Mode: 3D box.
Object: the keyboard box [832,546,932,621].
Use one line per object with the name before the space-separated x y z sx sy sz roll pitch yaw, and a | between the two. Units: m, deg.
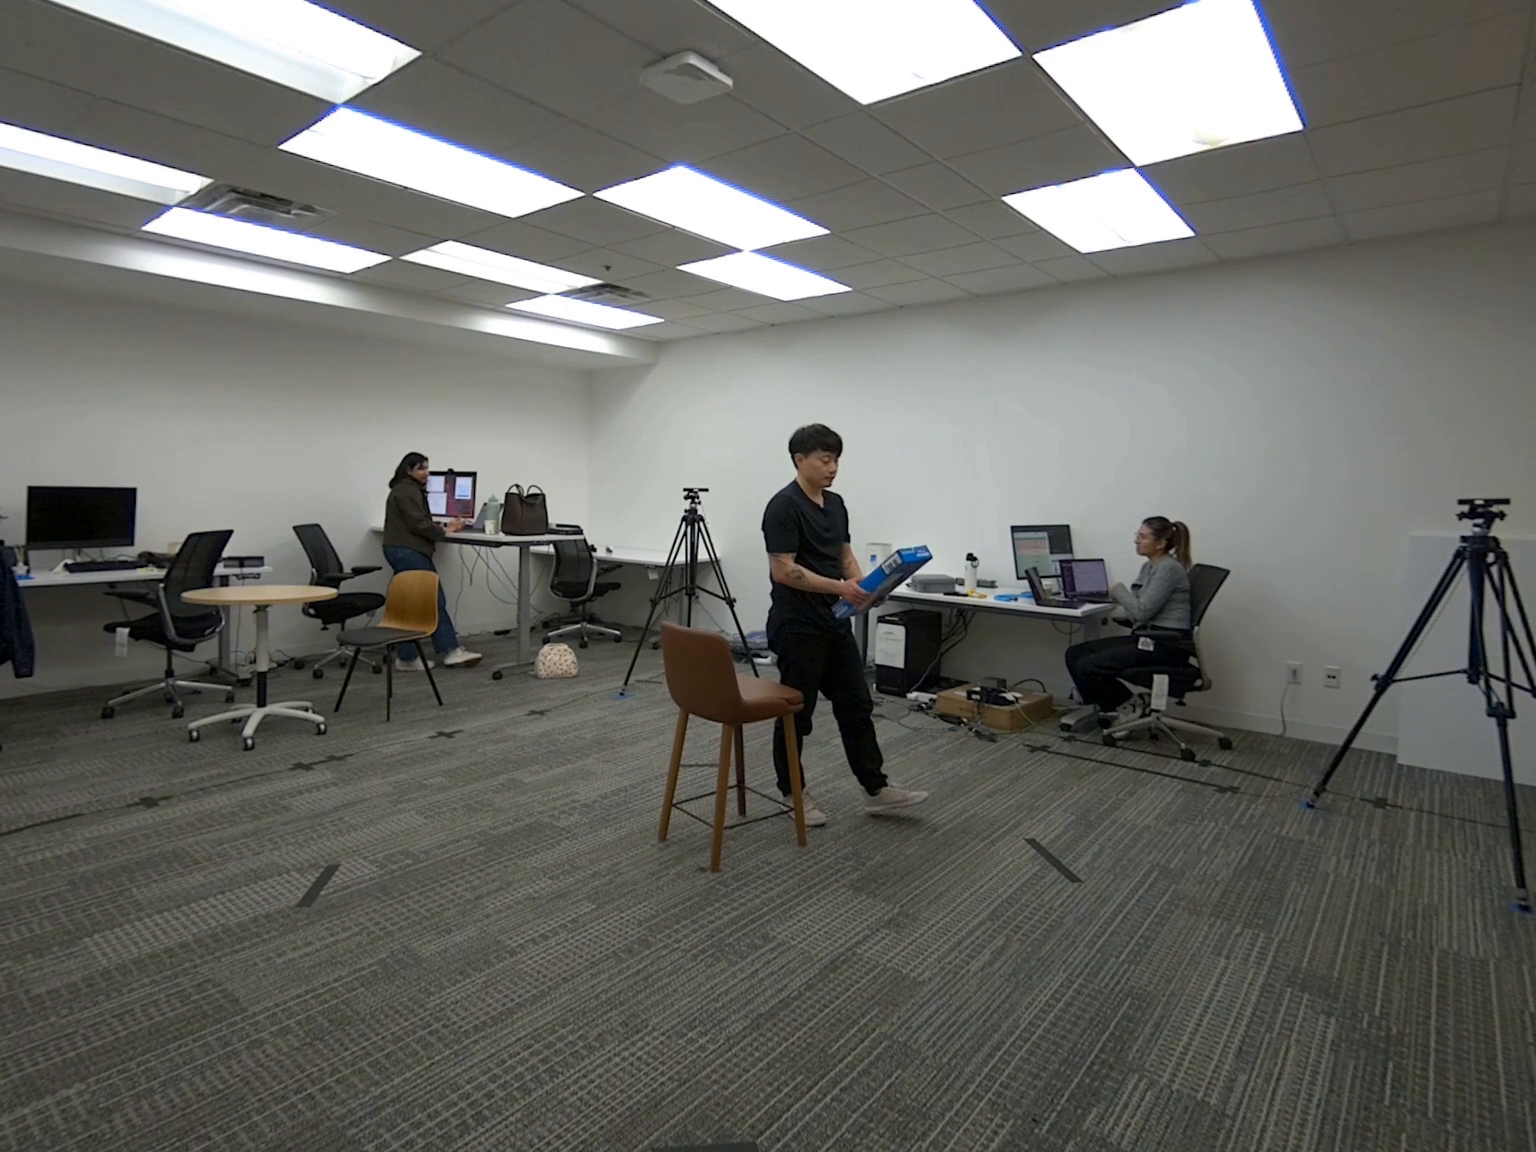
keyboard box | 0.435 0.030 3.343 0.171 0.061 0.437 -7 -27 -41
